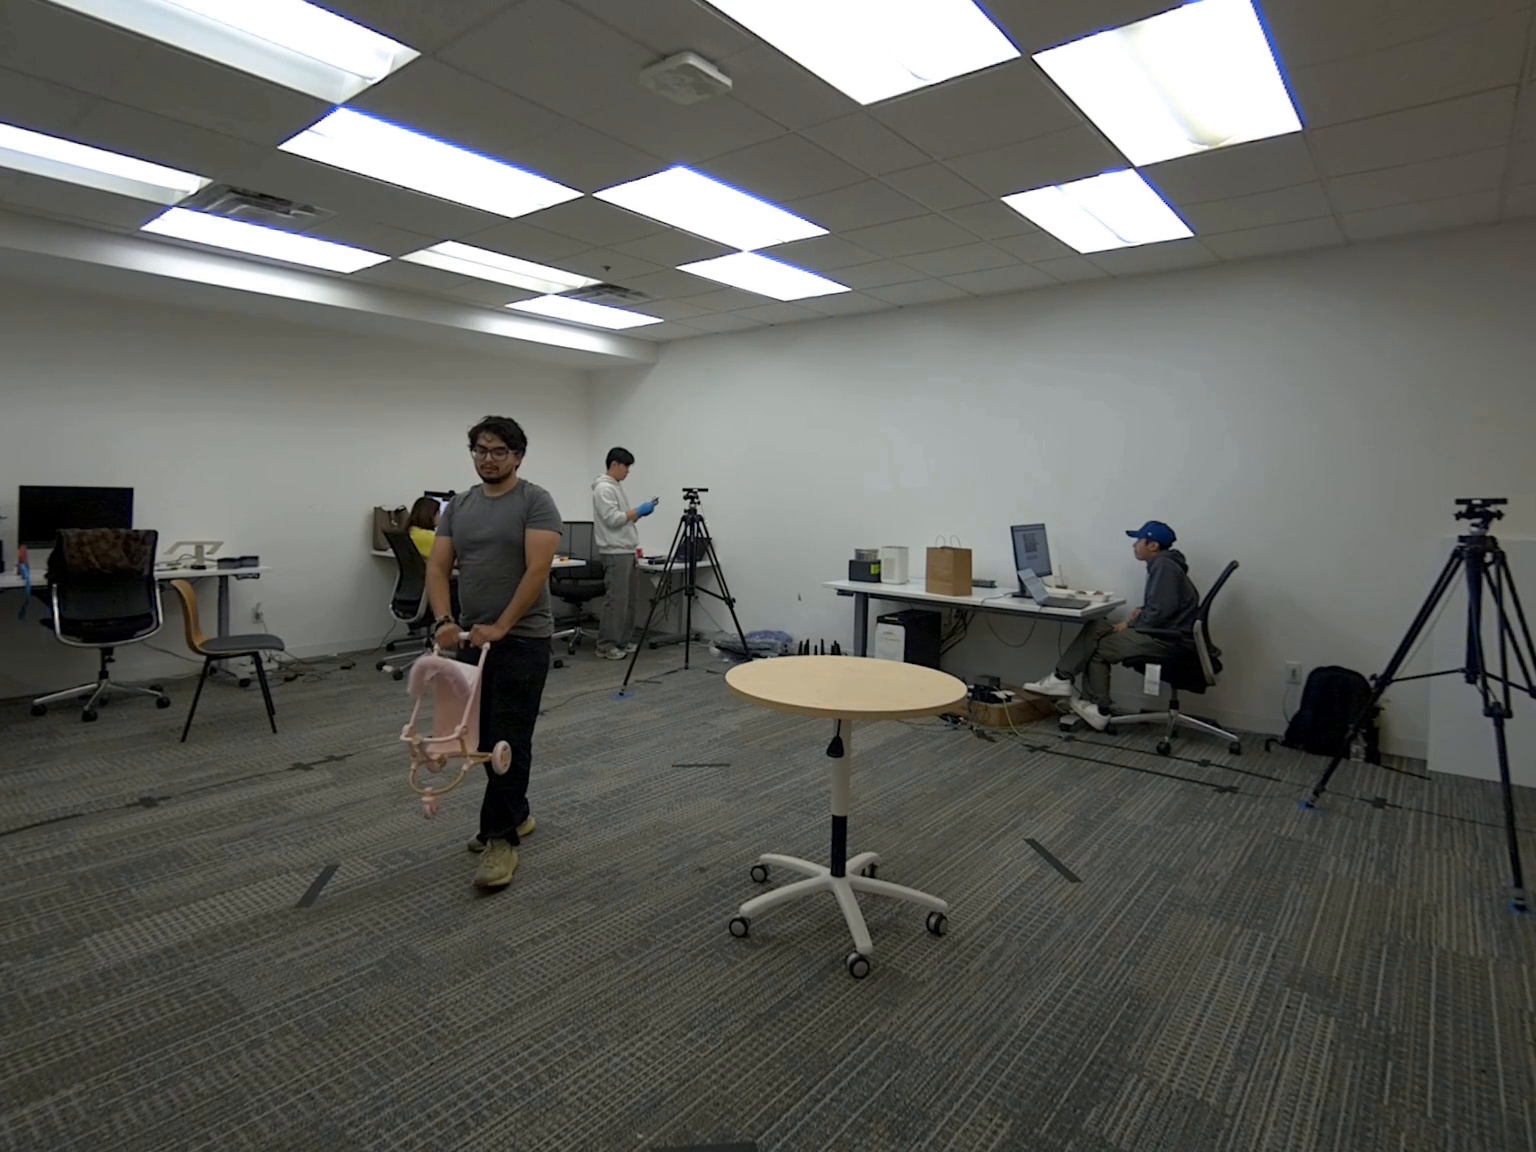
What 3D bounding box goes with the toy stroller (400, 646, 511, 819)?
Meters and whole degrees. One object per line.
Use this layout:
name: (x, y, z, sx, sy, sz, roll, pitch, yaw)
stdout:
toy stroller: (-1.074, 0.485, 2.795, 0.287, 0.532, 0.337, -1, 6, 17)
